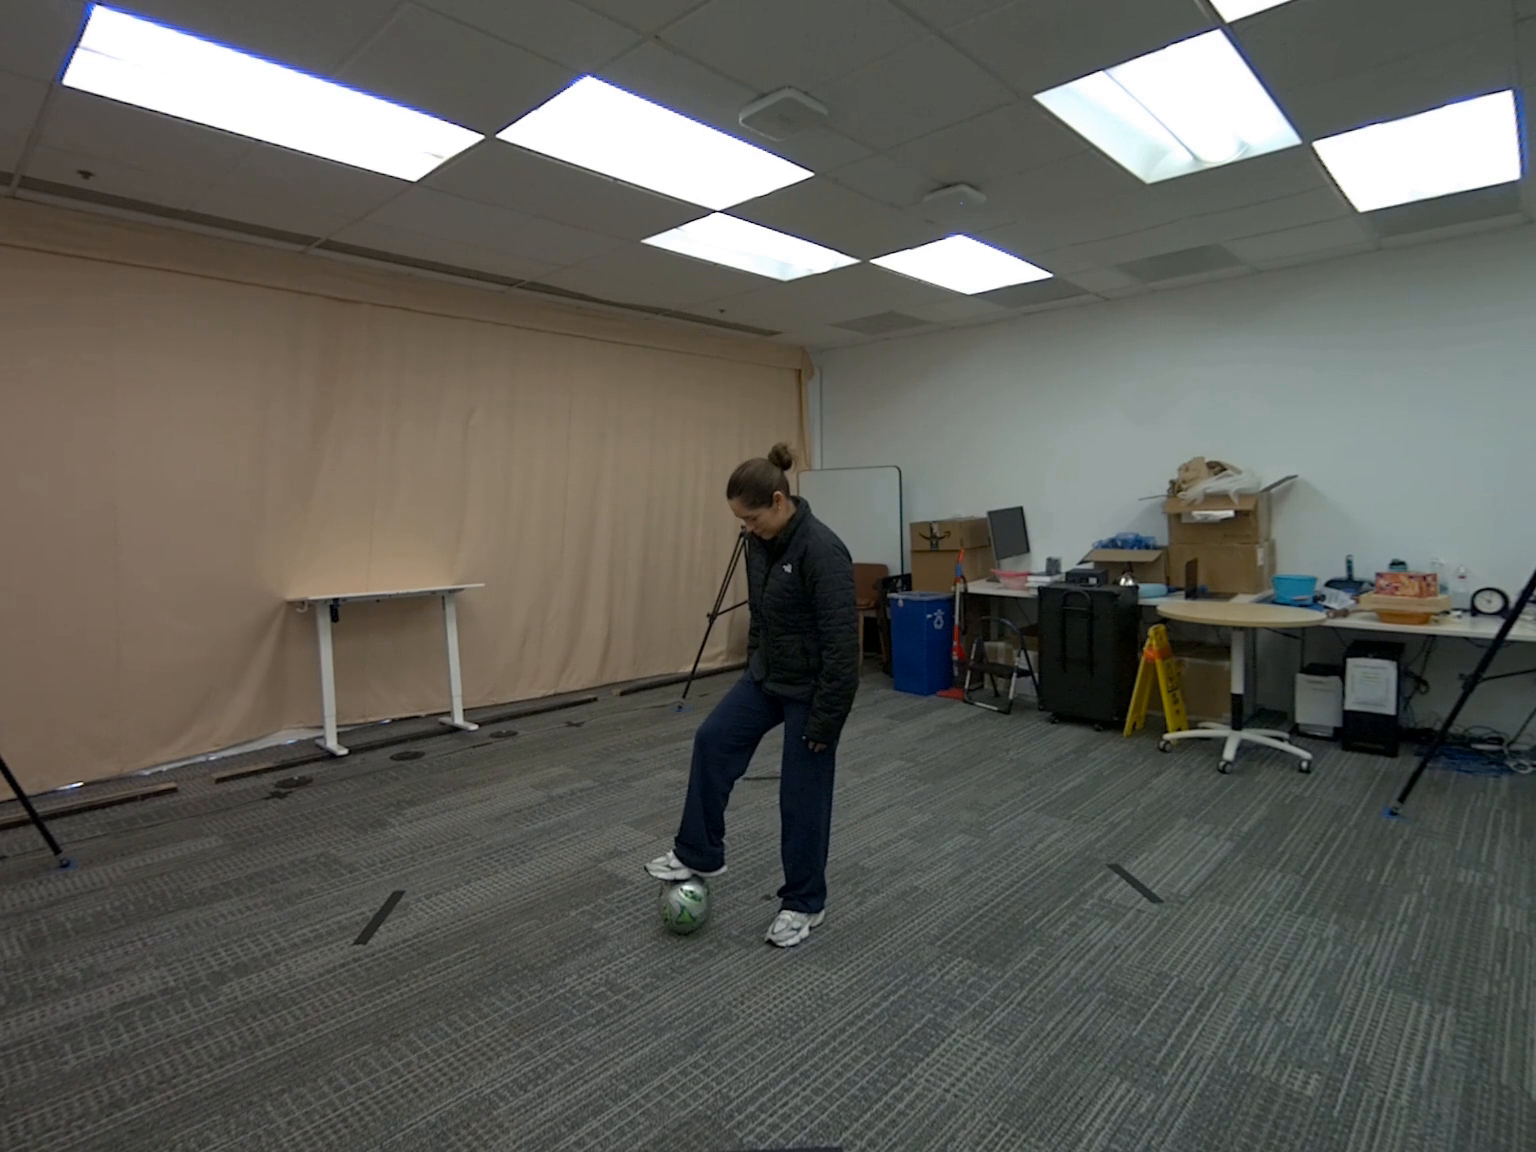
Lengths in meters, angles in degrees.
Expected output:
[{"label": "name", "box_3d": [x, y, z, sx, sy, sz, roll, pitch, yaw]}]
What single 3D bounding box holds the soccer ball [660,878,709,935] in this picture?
[{"label": "soccer ball", "box_3d": [-0.268, 1.074, 2.773, 0.187, 0.187, 0.188, -1, 4, -2]}]
